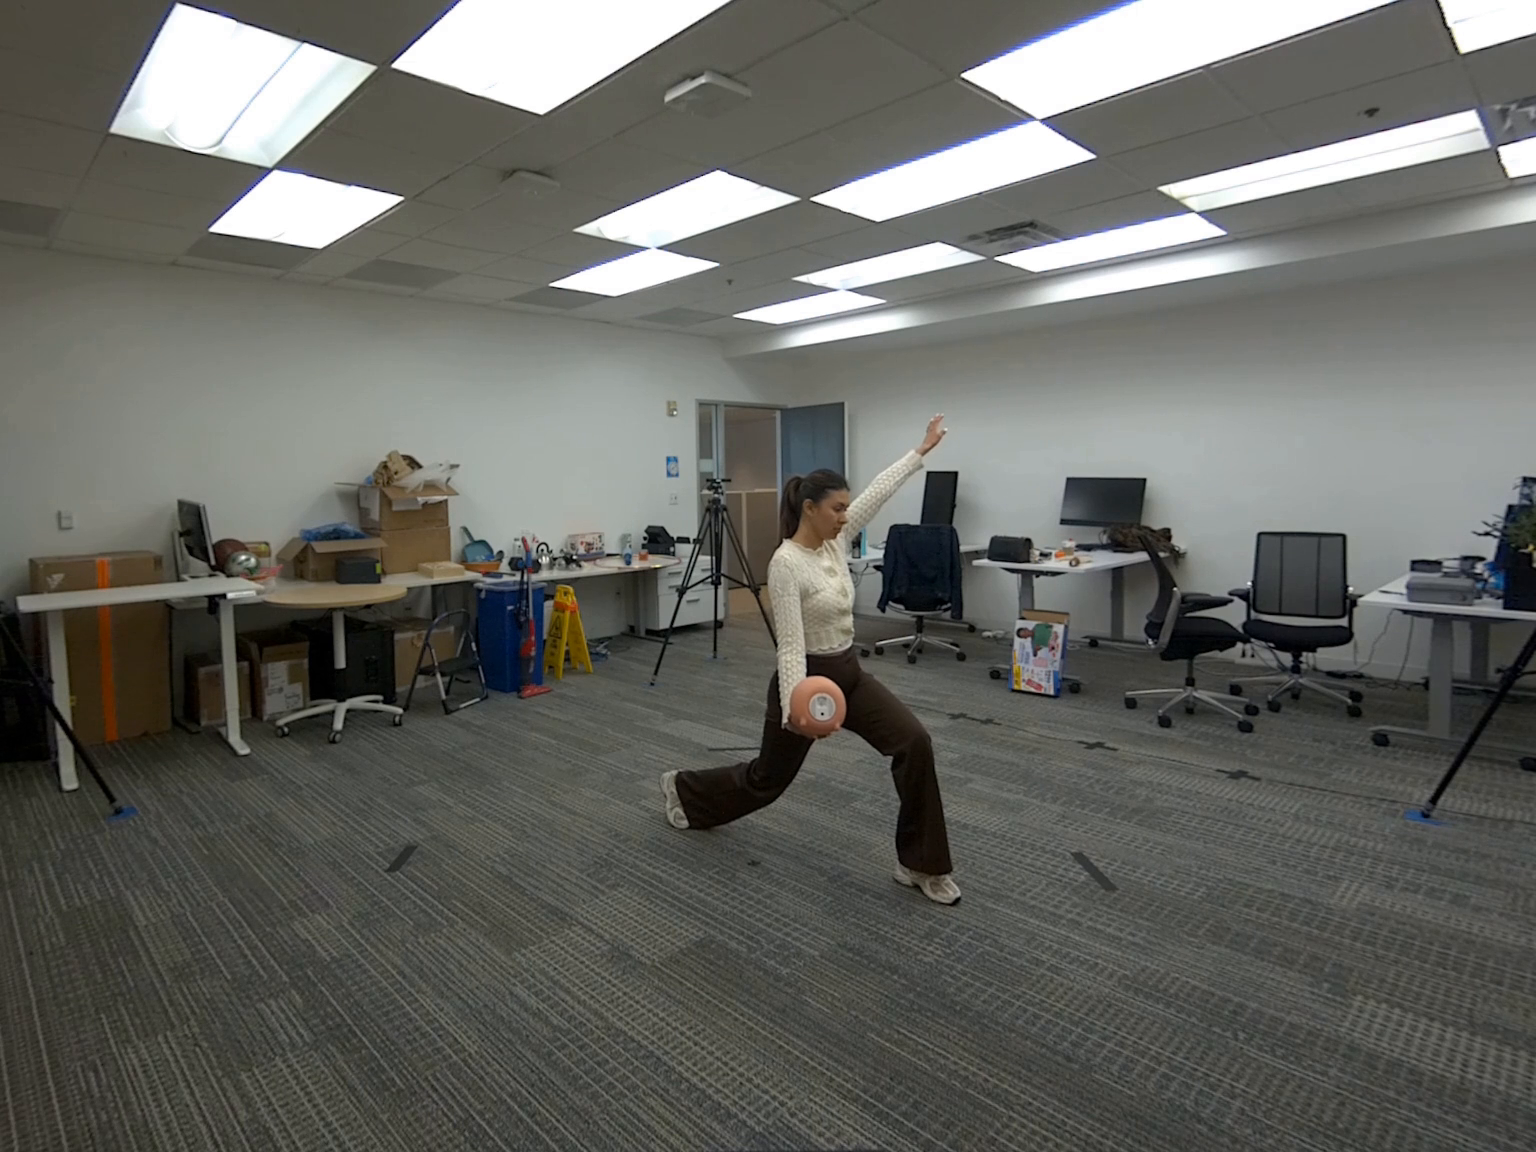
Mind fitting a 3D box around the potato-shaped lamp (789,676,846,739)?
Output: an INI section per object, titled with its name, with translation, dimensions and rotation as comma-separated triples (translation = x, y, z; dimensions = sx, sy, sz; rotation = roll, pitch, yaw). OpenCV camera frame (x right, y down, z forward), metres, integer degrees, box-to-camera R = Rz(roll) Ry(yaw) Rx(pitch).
[potato-shaped lamp]
translation = 0.131, 0.391, 2.561
dimensions = 0.163, 0.173, 0.198
rotation = 14, -14, -8
